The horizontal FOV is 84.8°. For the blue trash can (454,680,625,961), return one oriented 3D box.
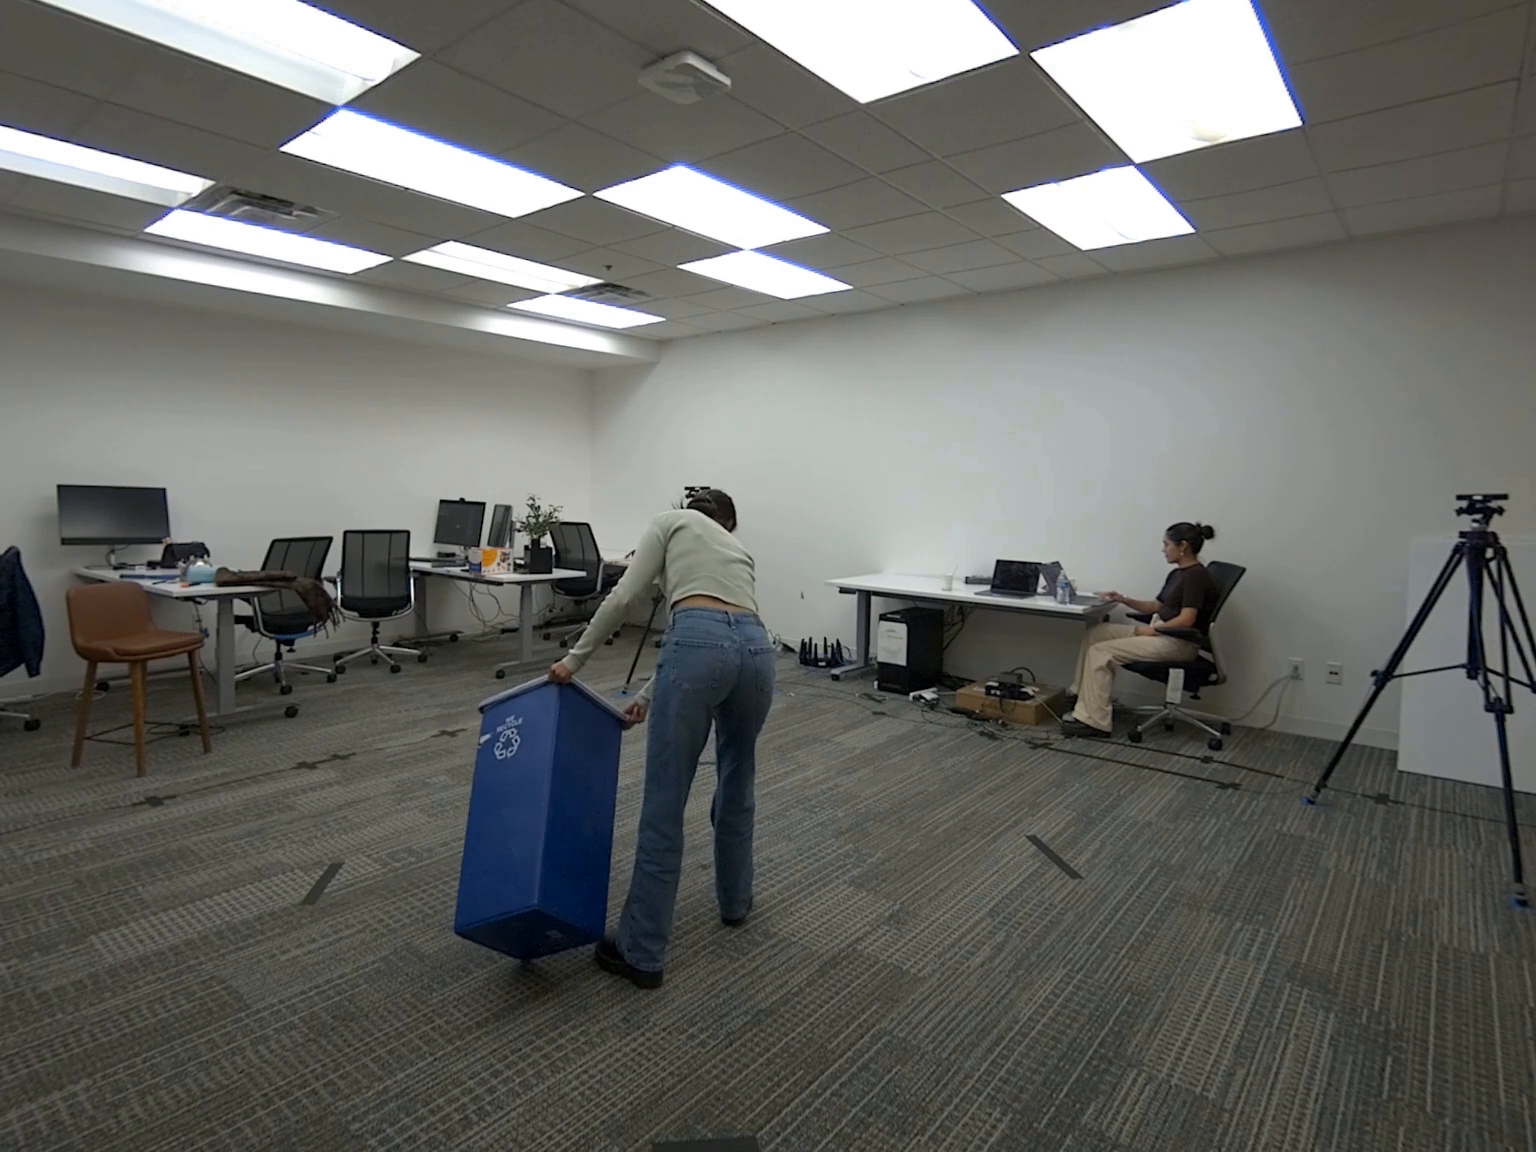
[{"bbox_3d":[-0.685,0.724,2.595,0.378,0.736,0.362,-23,-45,19],"label":"blue trash can"}]
